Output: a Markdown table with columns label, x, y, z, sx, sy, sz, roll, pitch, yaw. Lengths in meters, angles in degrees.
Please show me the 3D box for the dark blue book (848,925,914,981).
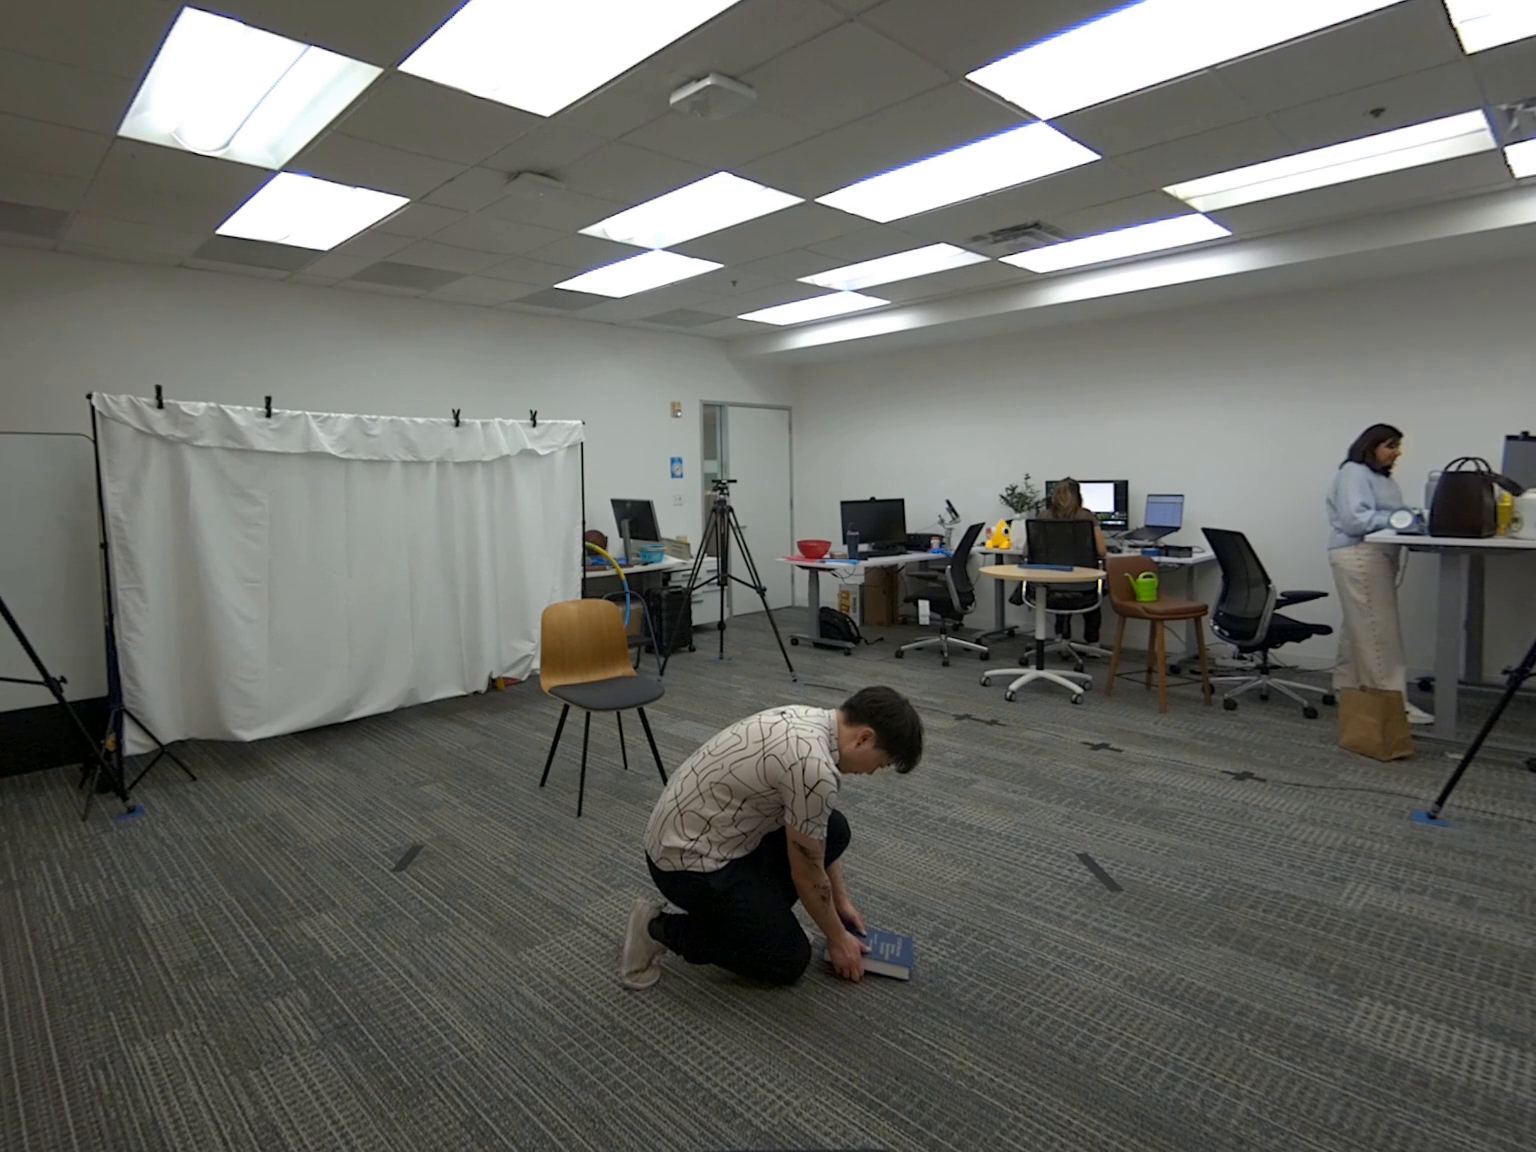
| label | x | y | z | sx | sy | sz | roll | pitch | yaw |
| --- | --- | --- | --- | --- | --- | --- | --- | --- | --- |
| dark blue book | 0.295 | 1.076 | 2.461 | 0.248 | 0.045 | 0.162 | 6 | 7 | 12 |
